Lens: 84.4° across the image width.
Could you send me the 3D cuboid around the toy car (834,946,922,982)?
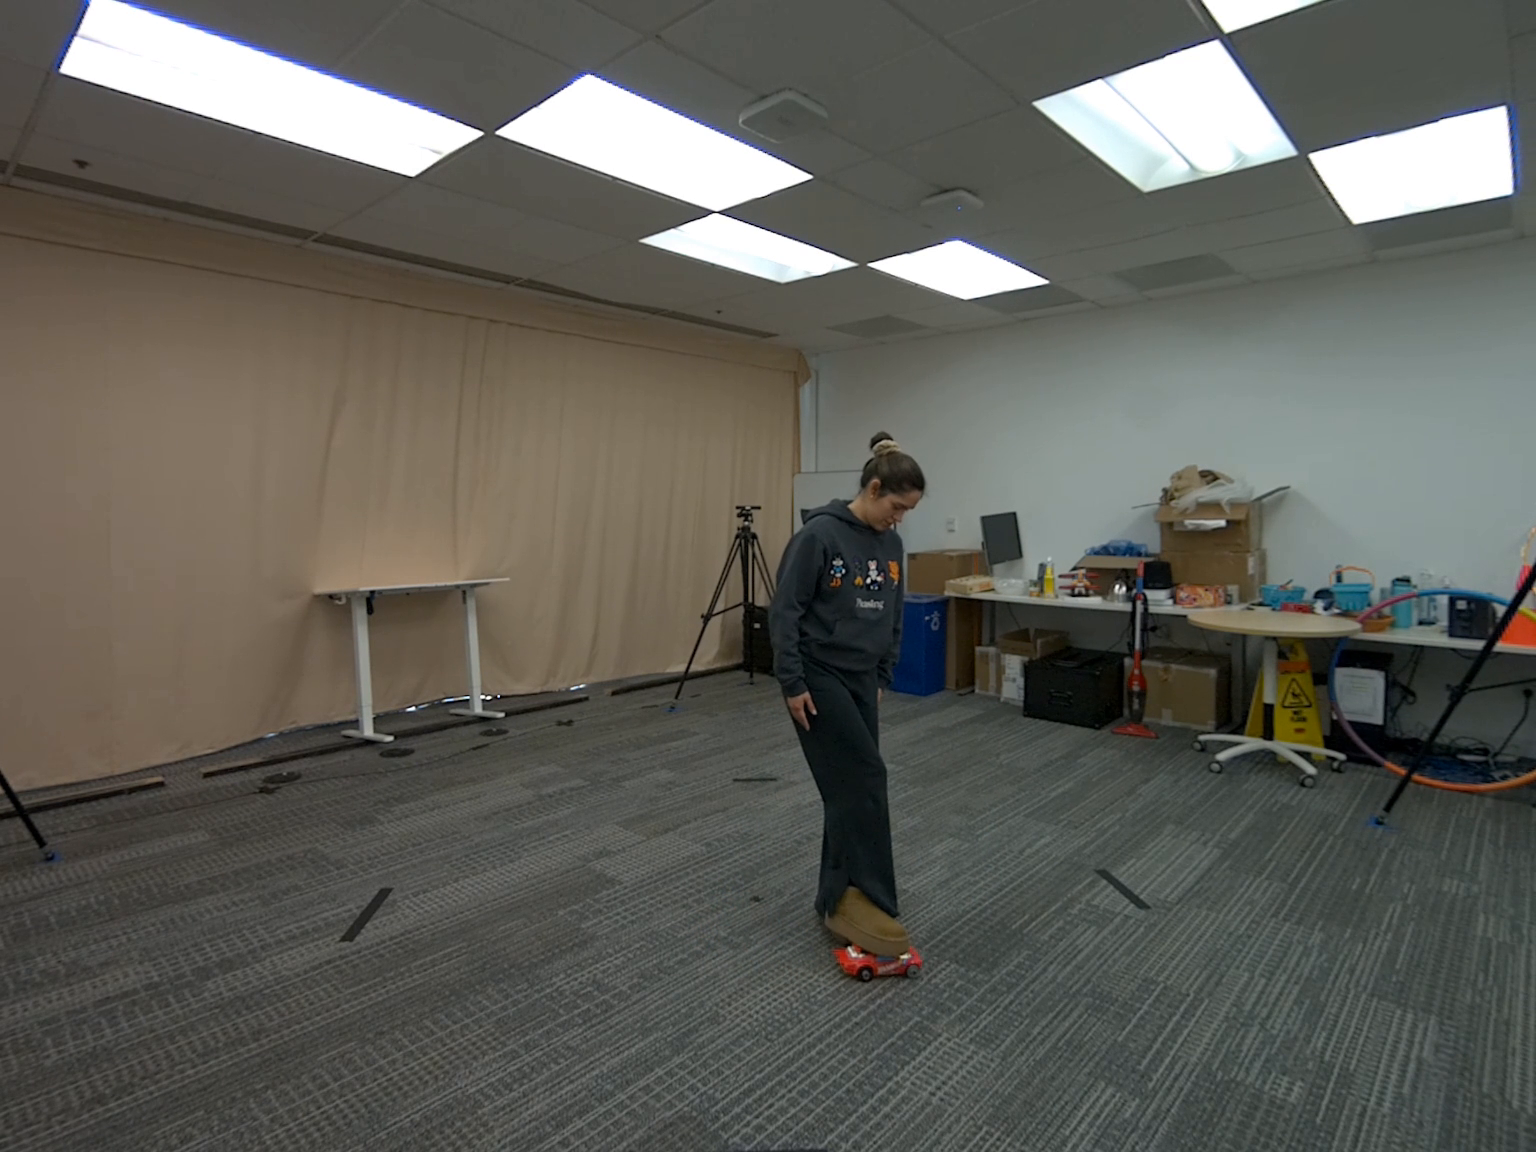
[{"bbox_3d":[0.345,1.148,2.514,0.252,0.083,0.131,9,3,-8],"label":"toy car"}]
